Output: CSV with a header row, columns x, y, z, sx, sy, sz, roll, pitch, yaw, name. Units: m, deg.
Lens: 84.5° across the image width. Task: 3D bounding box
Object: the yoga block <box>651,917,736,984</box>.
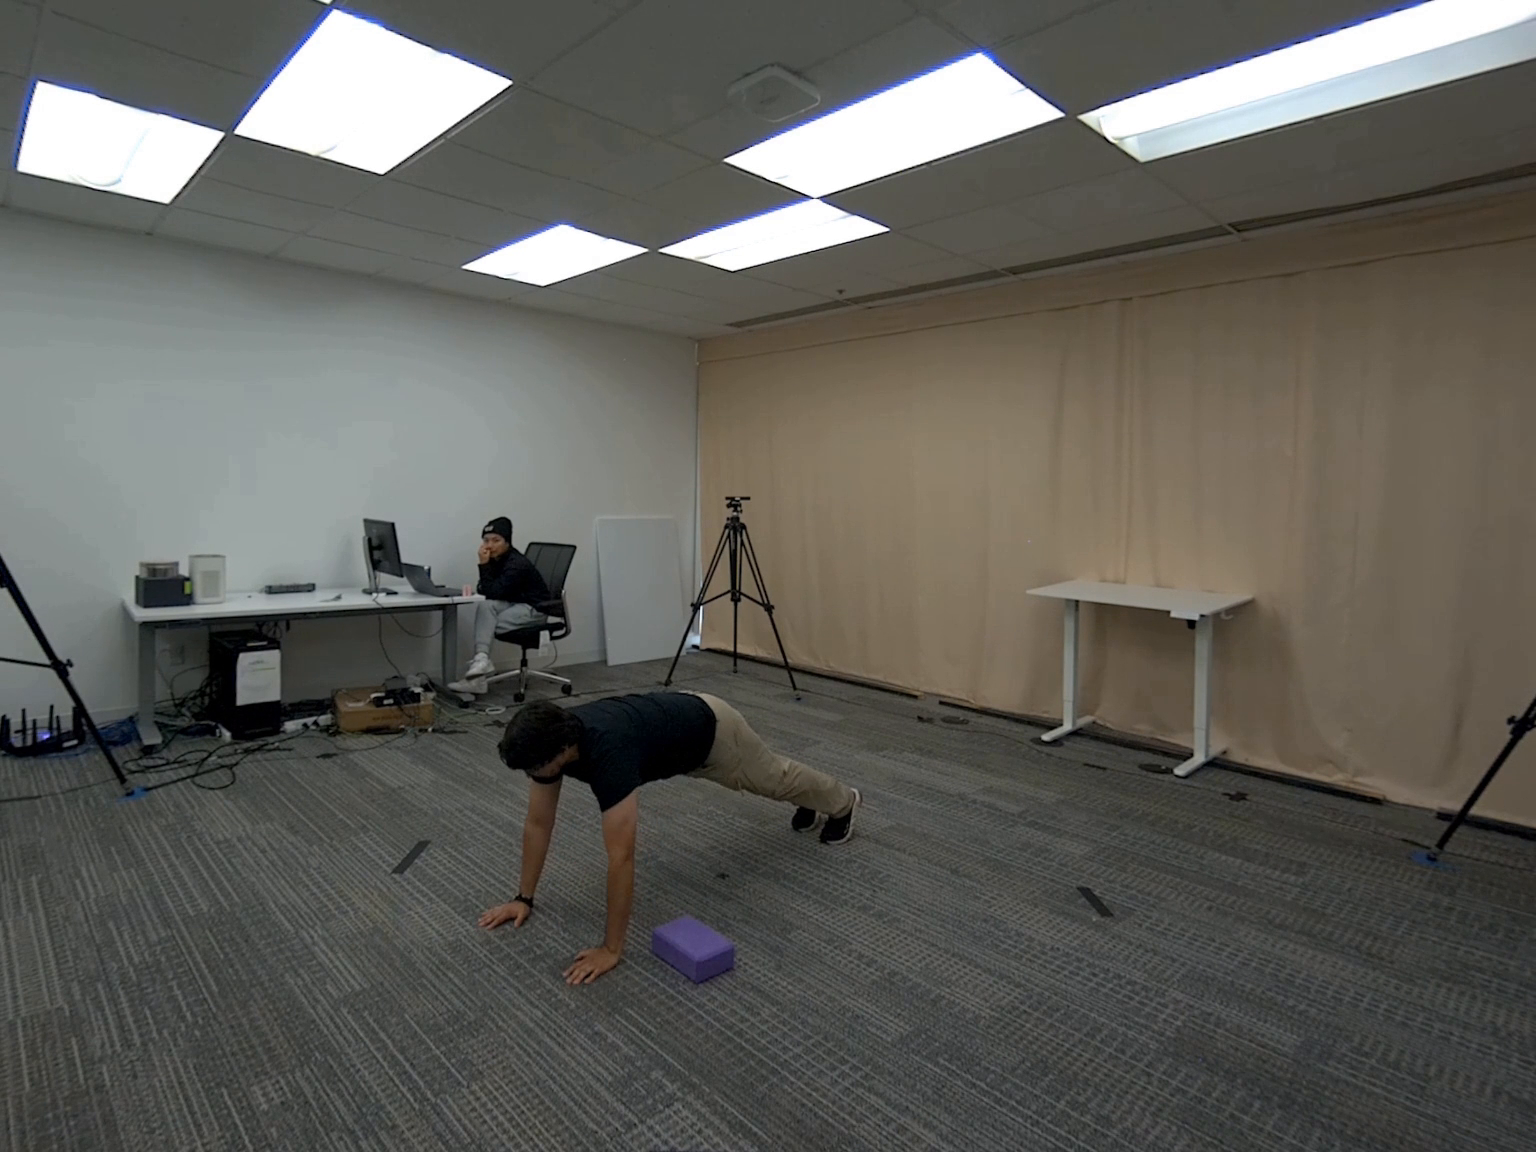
x,y,z,sx,sy,sz,roll,pitch,yaw,name
-0.240,1.117,2.524,0.146,0.076,0.235,-4,6,-41,yoga block
